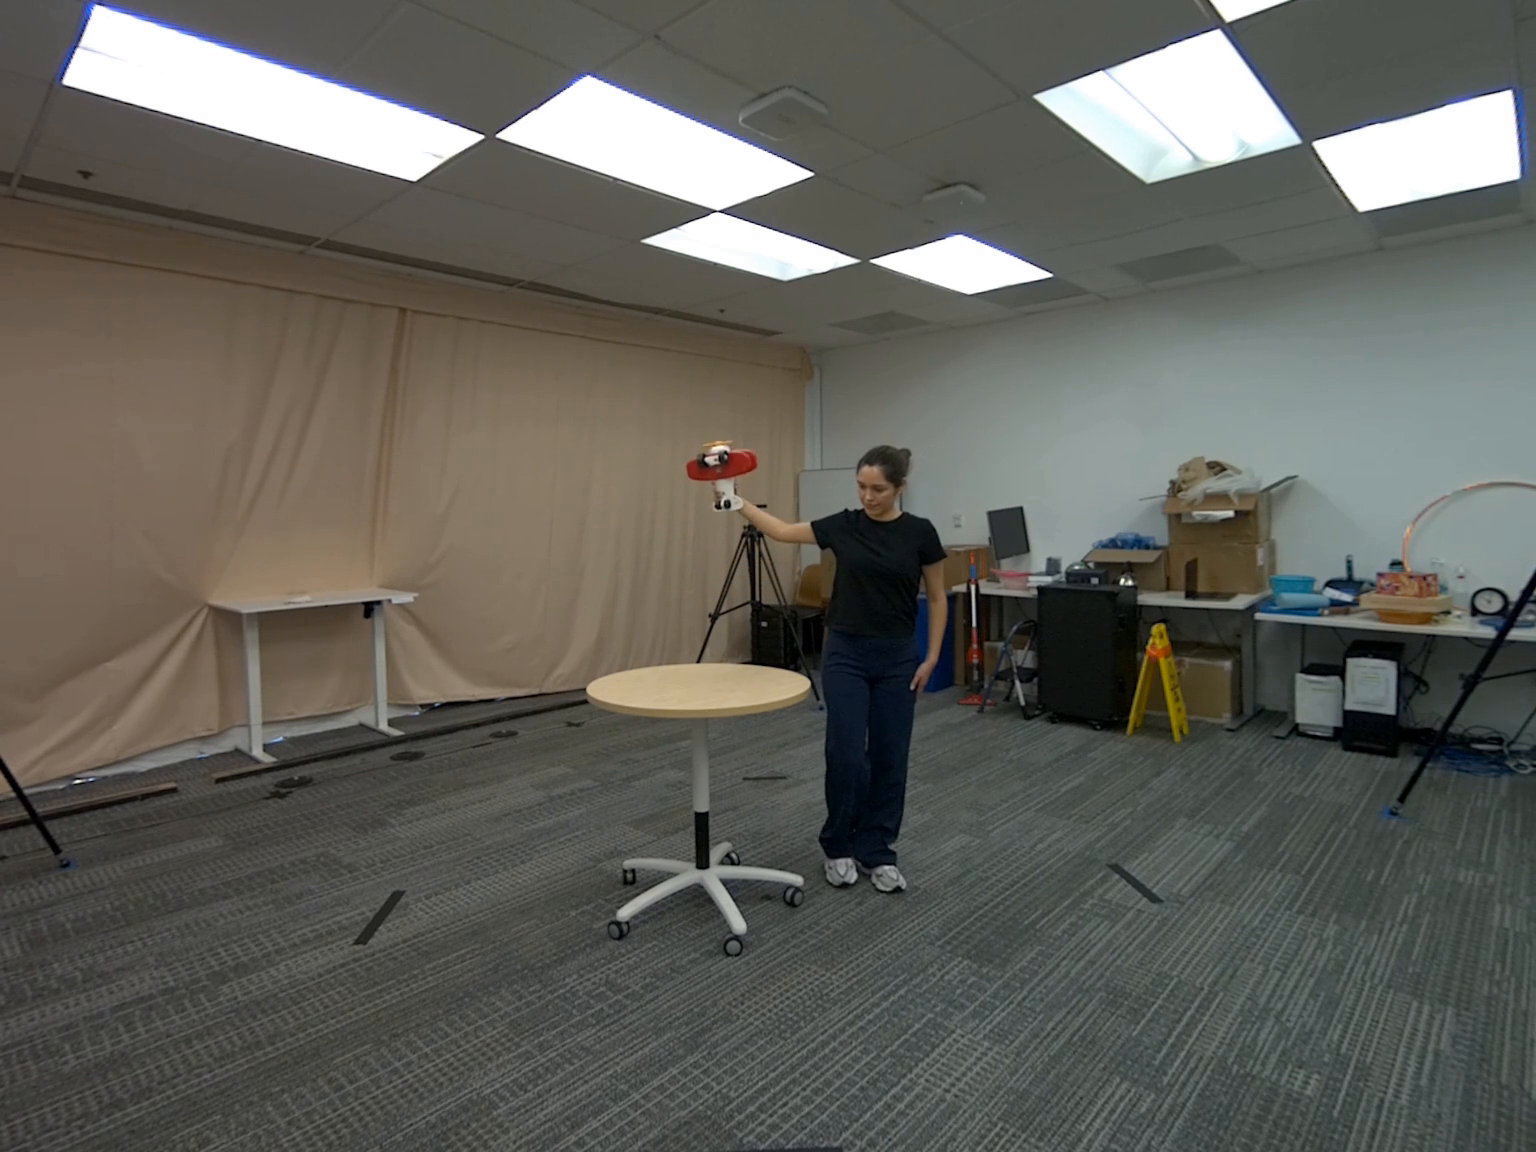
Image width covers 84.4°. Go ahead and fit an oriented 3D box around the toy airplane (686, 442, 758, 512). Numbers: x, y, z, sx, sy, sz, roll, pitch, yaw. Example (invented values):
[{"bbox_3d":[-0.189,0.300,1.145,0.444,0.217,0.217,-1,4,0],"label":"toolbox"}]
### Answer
[{"bbox_3d":[-0.182,-0.362,3.162,0.253,0.257,0.156,20,29,6],"label":"toy airplane"}]
